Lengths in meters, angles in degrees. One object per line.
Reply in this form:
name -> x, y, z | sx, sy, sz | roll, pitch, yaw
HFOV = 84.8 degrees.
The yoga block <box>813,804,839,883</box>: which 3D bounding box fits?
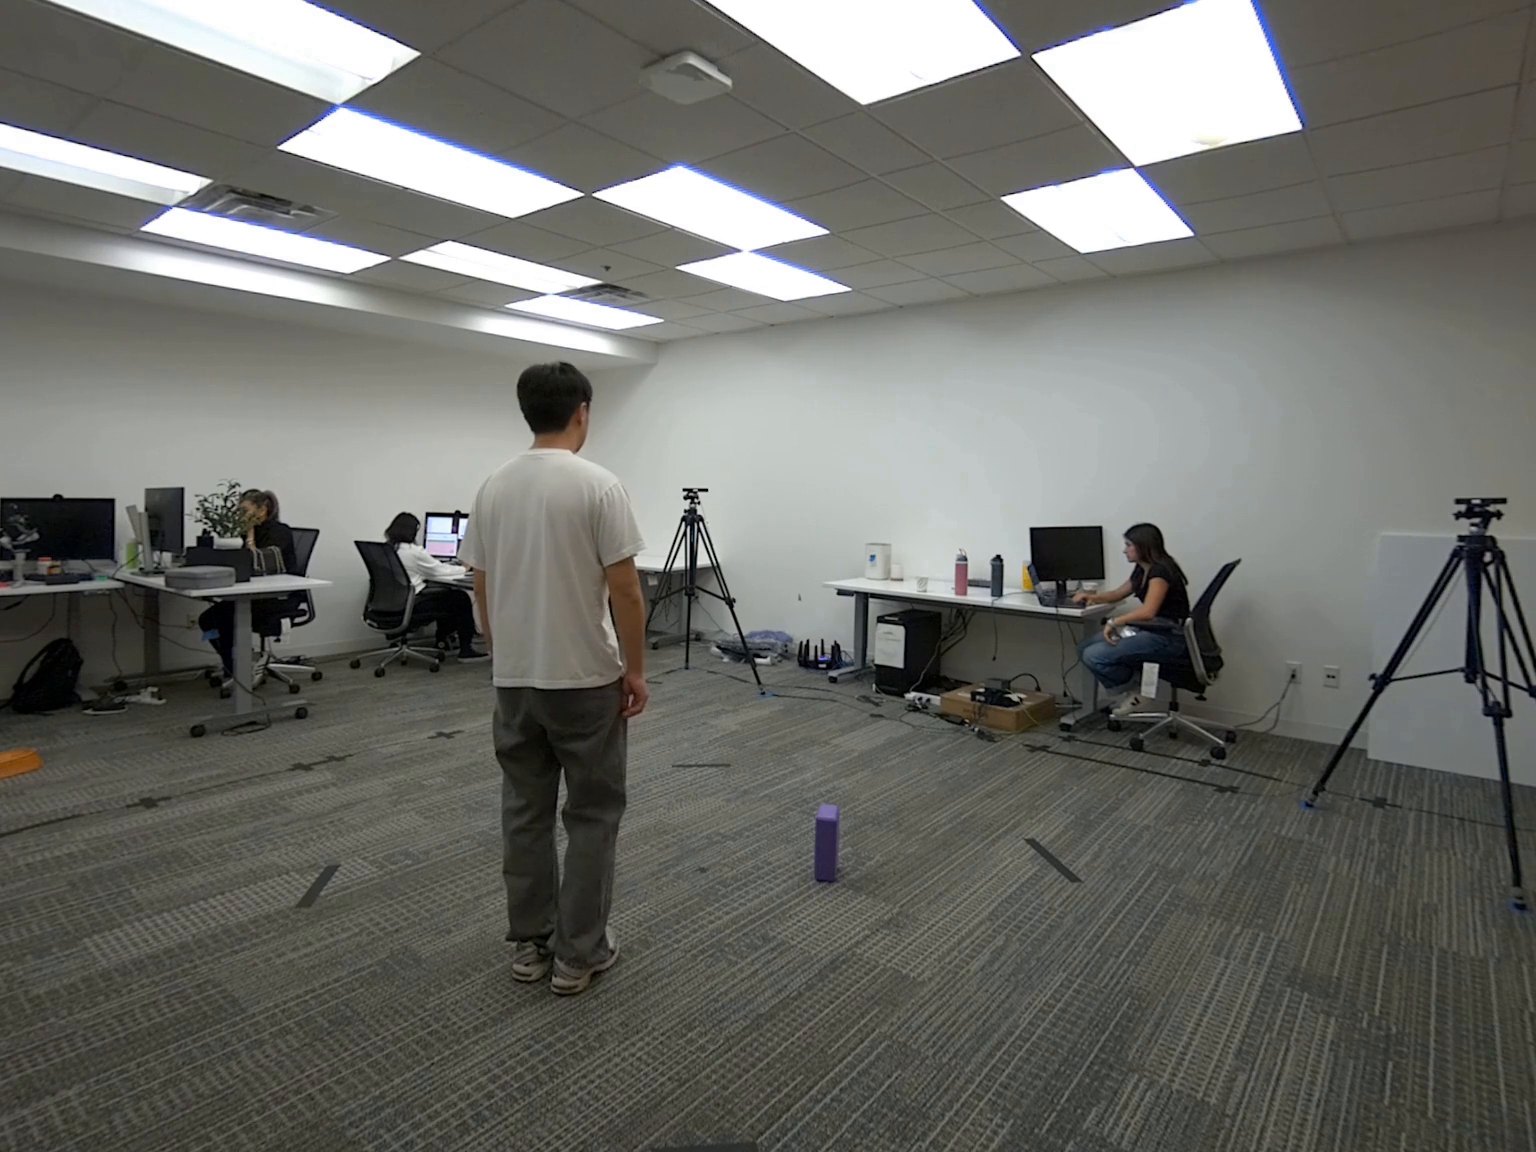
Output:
yoga block -> 0.219, 0.959, 3.095 | 0.077, 0.228, 0.148 | 2, 4, 8
